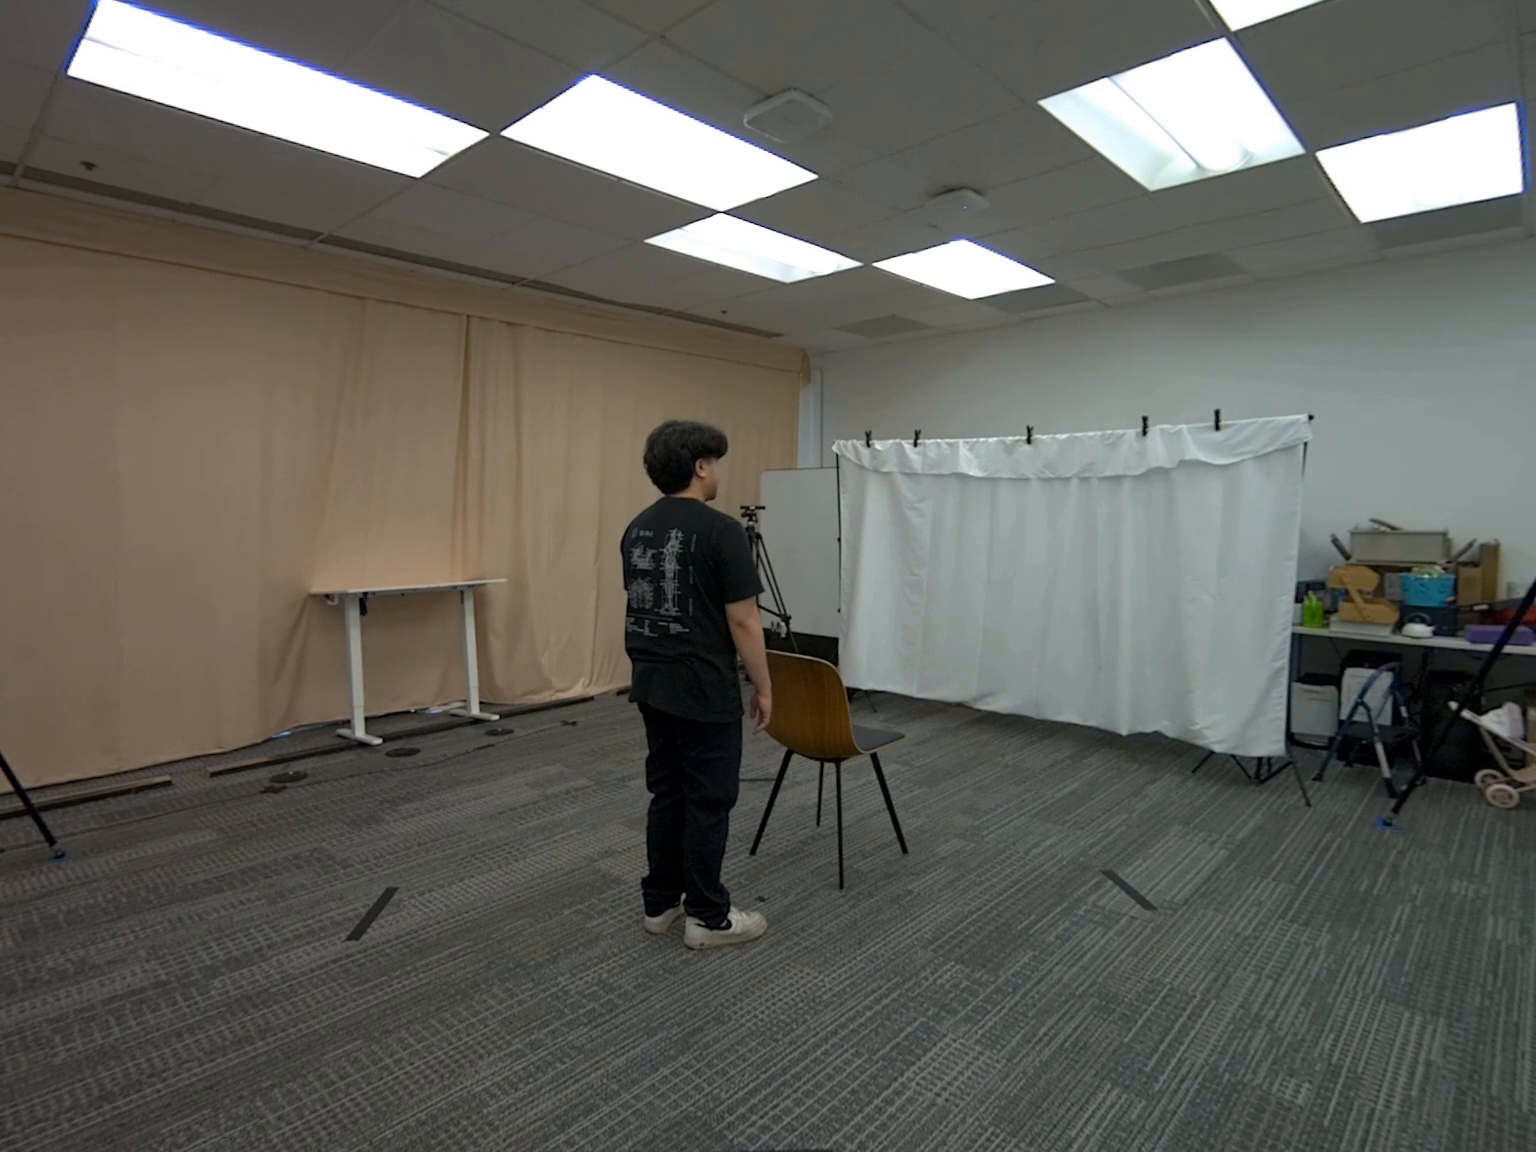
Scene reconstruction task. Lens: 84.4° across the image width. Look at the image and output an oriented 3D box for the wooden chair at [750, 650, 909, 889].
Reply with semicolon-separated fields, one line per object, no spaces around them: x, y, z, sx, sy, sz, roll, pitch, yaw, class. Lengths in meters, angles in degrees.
0.256;0.686;3.345;0.494;0.873;0.508;3;8;42;wooden chair
